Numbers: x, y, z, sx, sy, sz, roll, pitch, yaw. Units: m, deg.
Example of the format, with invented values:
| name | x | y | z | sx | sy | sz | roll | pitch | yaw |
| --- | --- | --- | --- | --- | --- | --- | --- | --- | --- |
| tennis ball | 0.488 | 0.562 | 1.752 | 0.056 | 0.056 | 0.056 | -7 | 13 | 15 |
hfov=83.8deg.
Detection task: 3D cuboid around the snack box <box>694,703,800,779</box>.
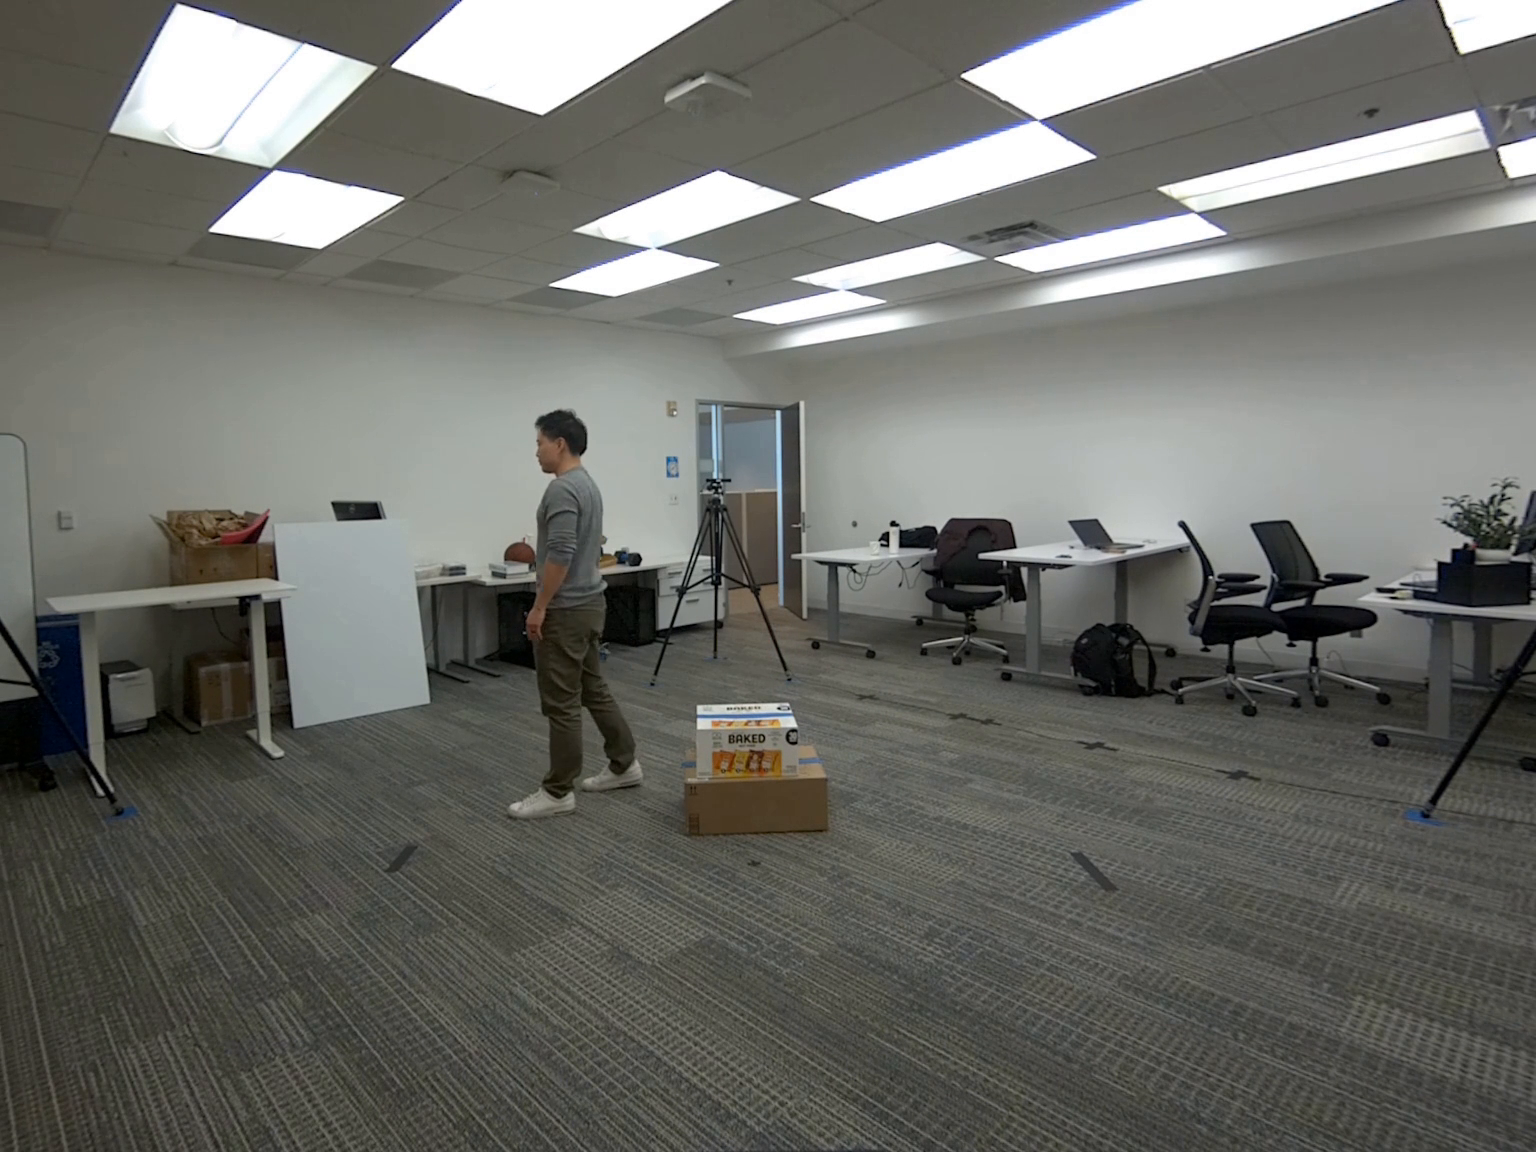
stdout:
| name | x | y | z | sx | sy | sz | roll | pitch | yaw |
| --- | --- | --- | --- | --- | --- | --- | --- | --- | --- |
| snack box | -0.095 | 0.680 | 3.547 | 0.404 | 0.204 | 0.343 | -1 | 7 | -3 |
